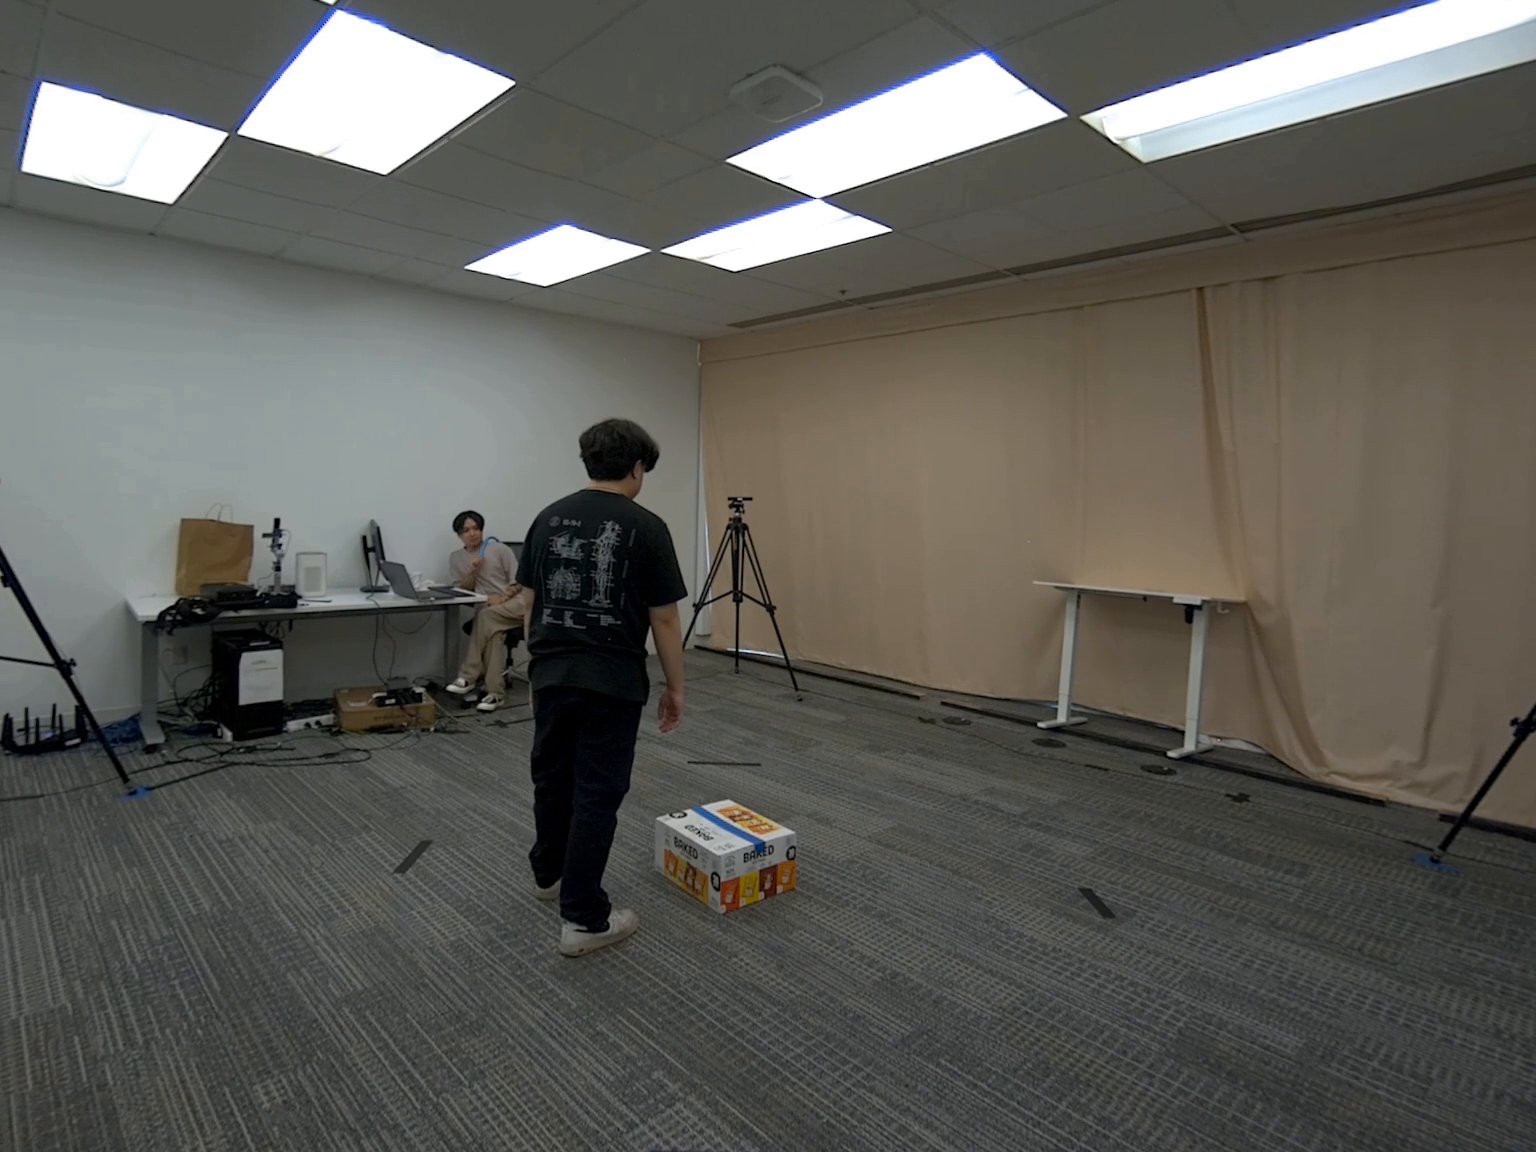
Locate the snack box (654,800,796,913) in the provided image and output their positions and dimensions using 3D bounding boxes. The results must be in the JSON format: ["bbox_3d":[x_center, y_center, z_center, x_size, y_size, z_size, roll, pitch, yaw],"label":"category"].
[{"bbox_3d":[-0.166,1.009,3.066,0.333,0.205,0.415,-2,6,-39],"label":"snack box"}]
